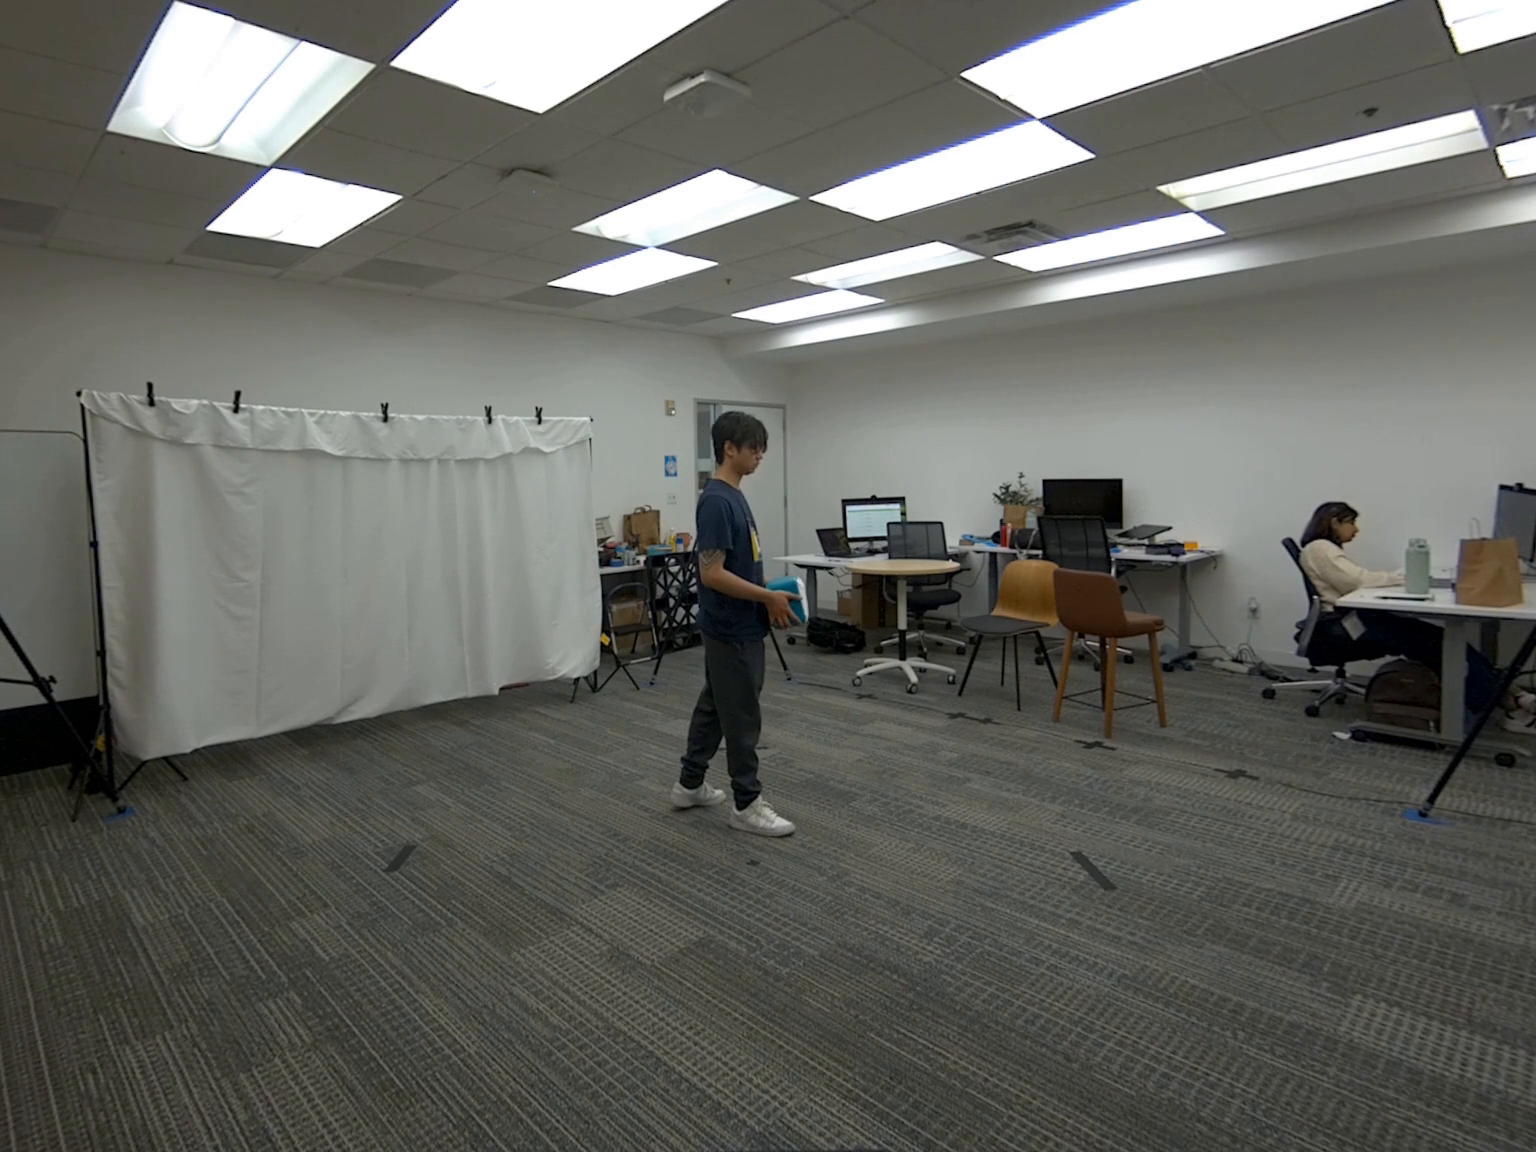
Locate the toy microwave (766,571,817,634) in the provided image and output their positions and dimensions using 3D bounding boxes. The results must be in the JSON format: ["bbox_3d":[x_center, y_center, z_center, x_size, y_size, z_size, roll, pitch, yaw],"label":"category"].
[{"bbox_3d":[0.091,0.099,3.418,0.153,0.184,0.285,-14,2,5],"label":"toy microwave"}]
